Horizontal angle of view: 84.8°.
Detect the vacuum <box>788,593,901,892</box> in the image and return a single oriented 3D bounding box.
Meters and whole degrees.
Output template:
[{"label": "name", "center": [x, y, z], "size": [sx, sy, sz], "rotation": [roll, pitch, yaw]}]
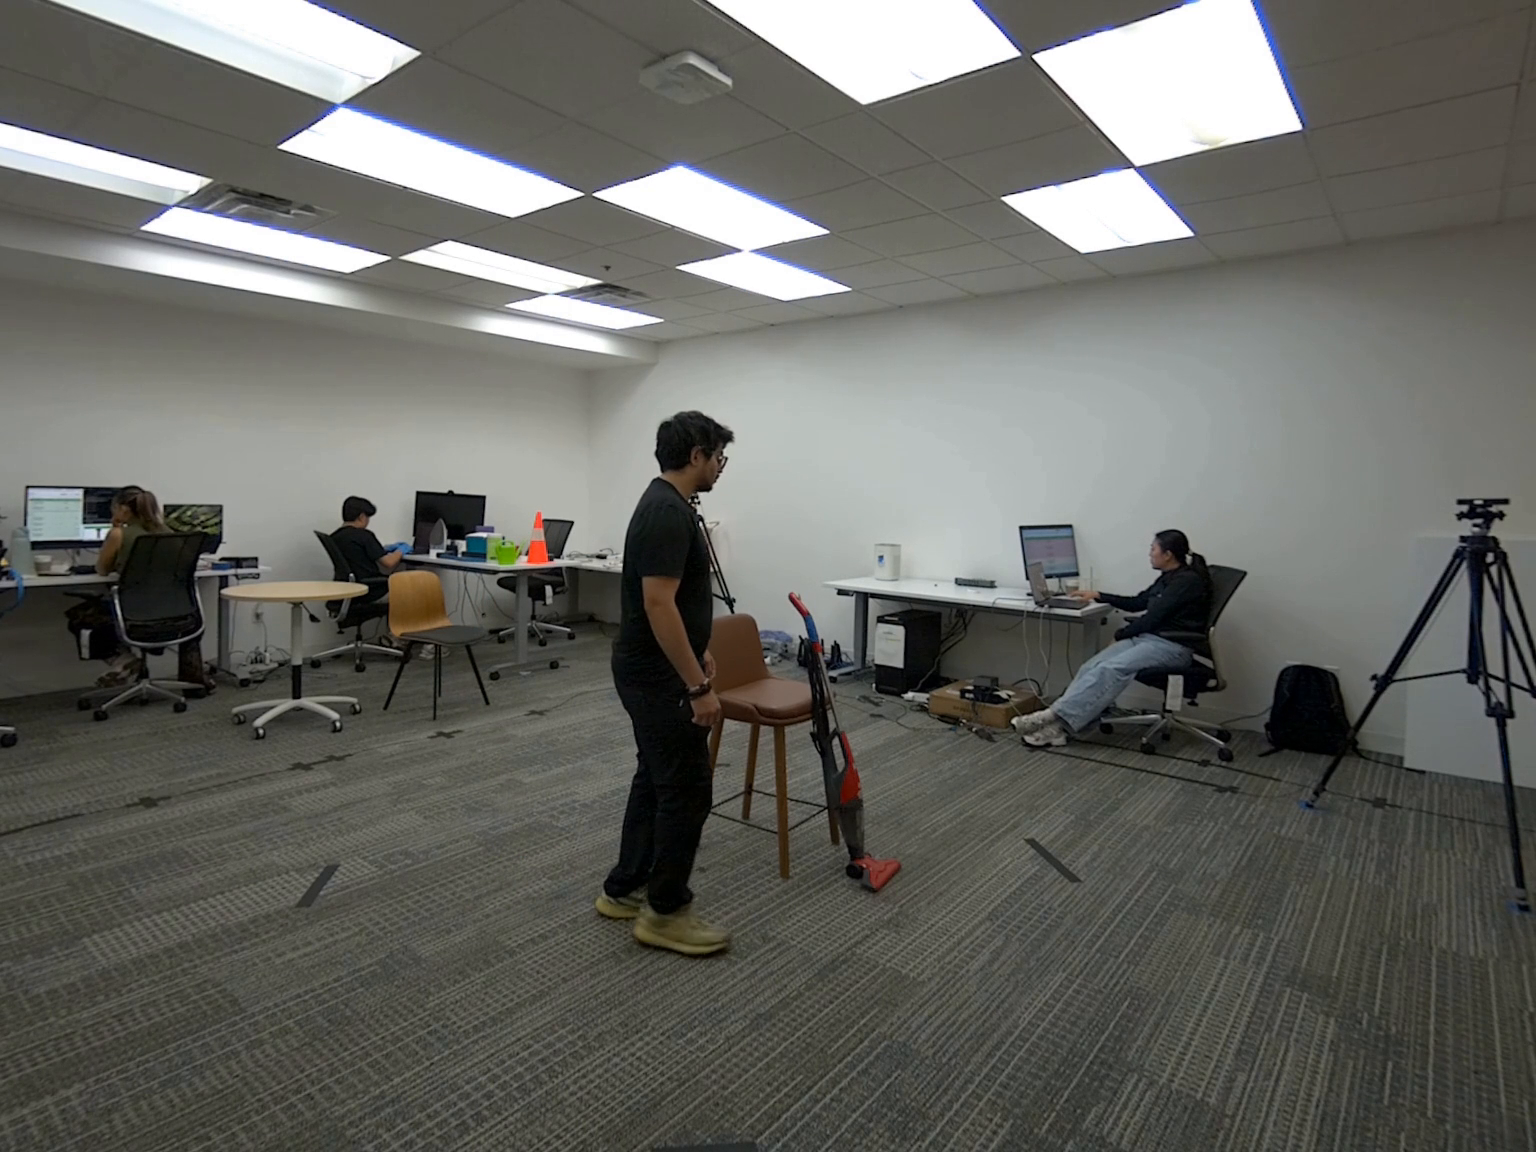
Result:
[{"label": "vacuum", "center": [0.228, 0.579, 3.156], "size": [0.146, 1.059, 0.246], "rotation": [-20, -8, 26]}]
